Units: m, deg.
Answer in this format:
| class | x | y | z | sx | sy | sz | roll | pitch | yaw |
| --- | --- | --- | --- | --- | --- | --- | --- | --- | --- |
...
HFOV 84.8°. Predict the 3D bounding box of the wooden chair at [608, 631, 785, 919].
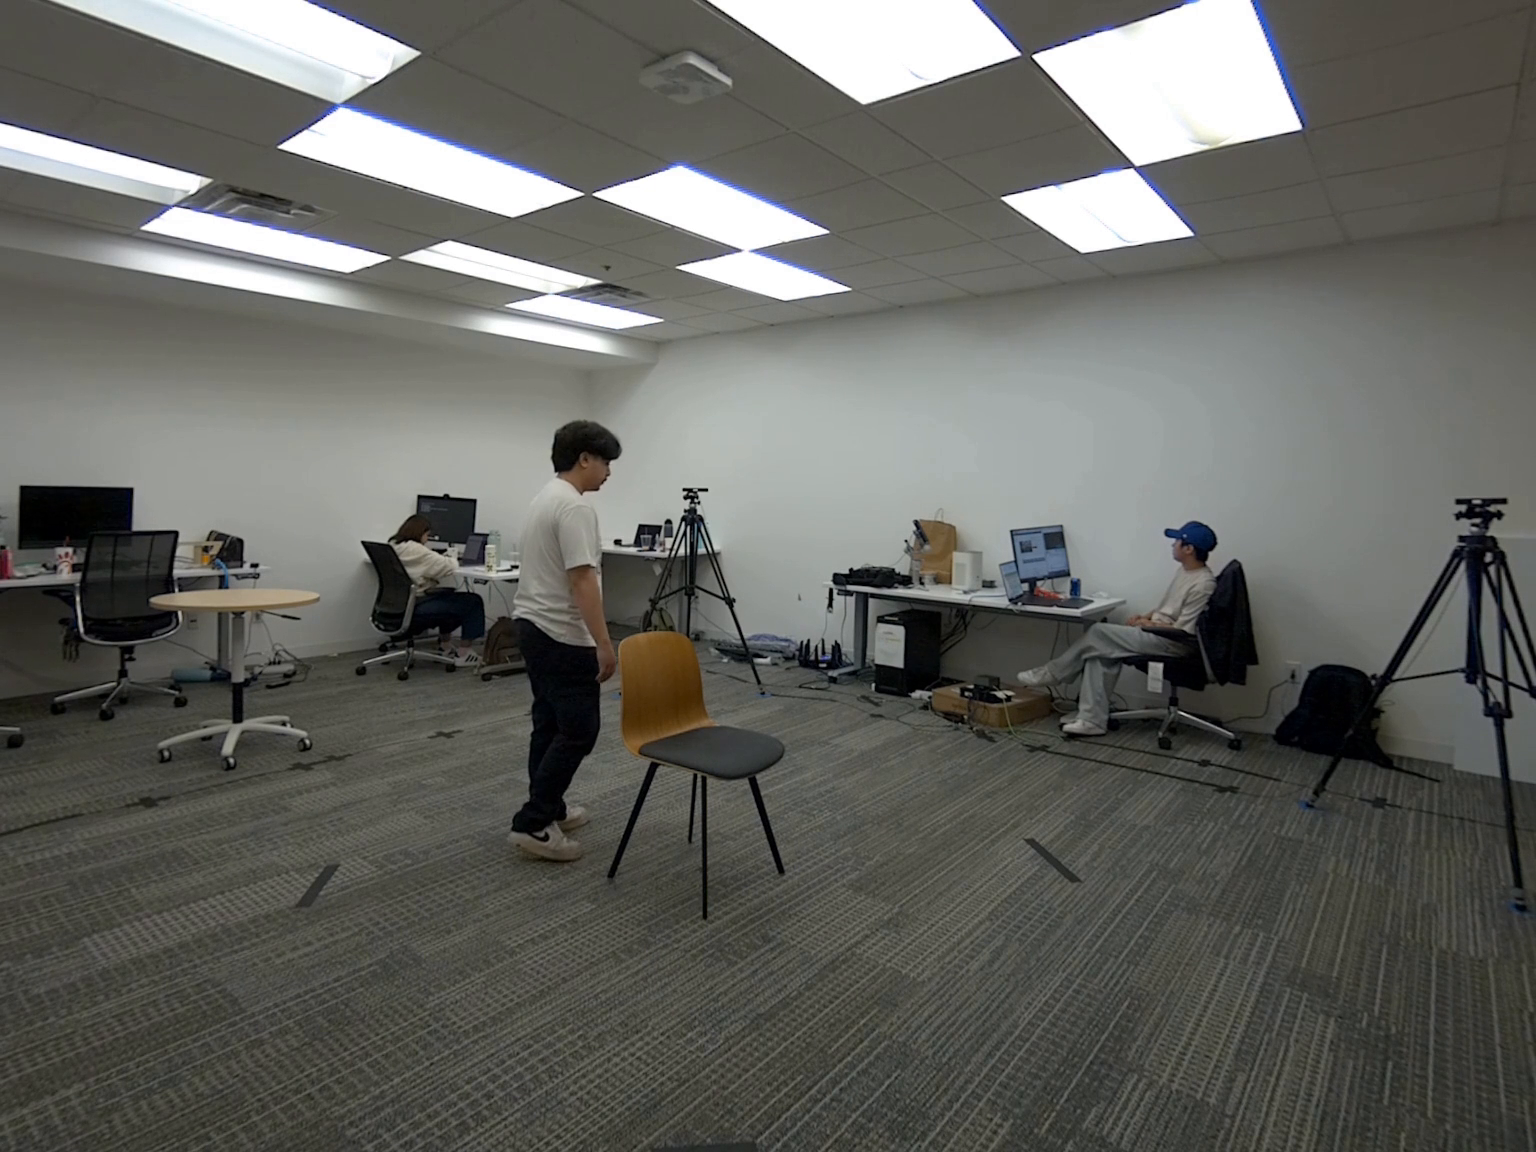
| class | x | y | z | sx | sy | sz | roll | pitch | yaw |
| --- | --- | --- | --- | --- | --- | --- | --- | --- | --- |
| wooden chair | -0.246 | 0.649 | 3.019 | 0.539 | 0.878 | 0.464 | -2 | 0 | 37 |
